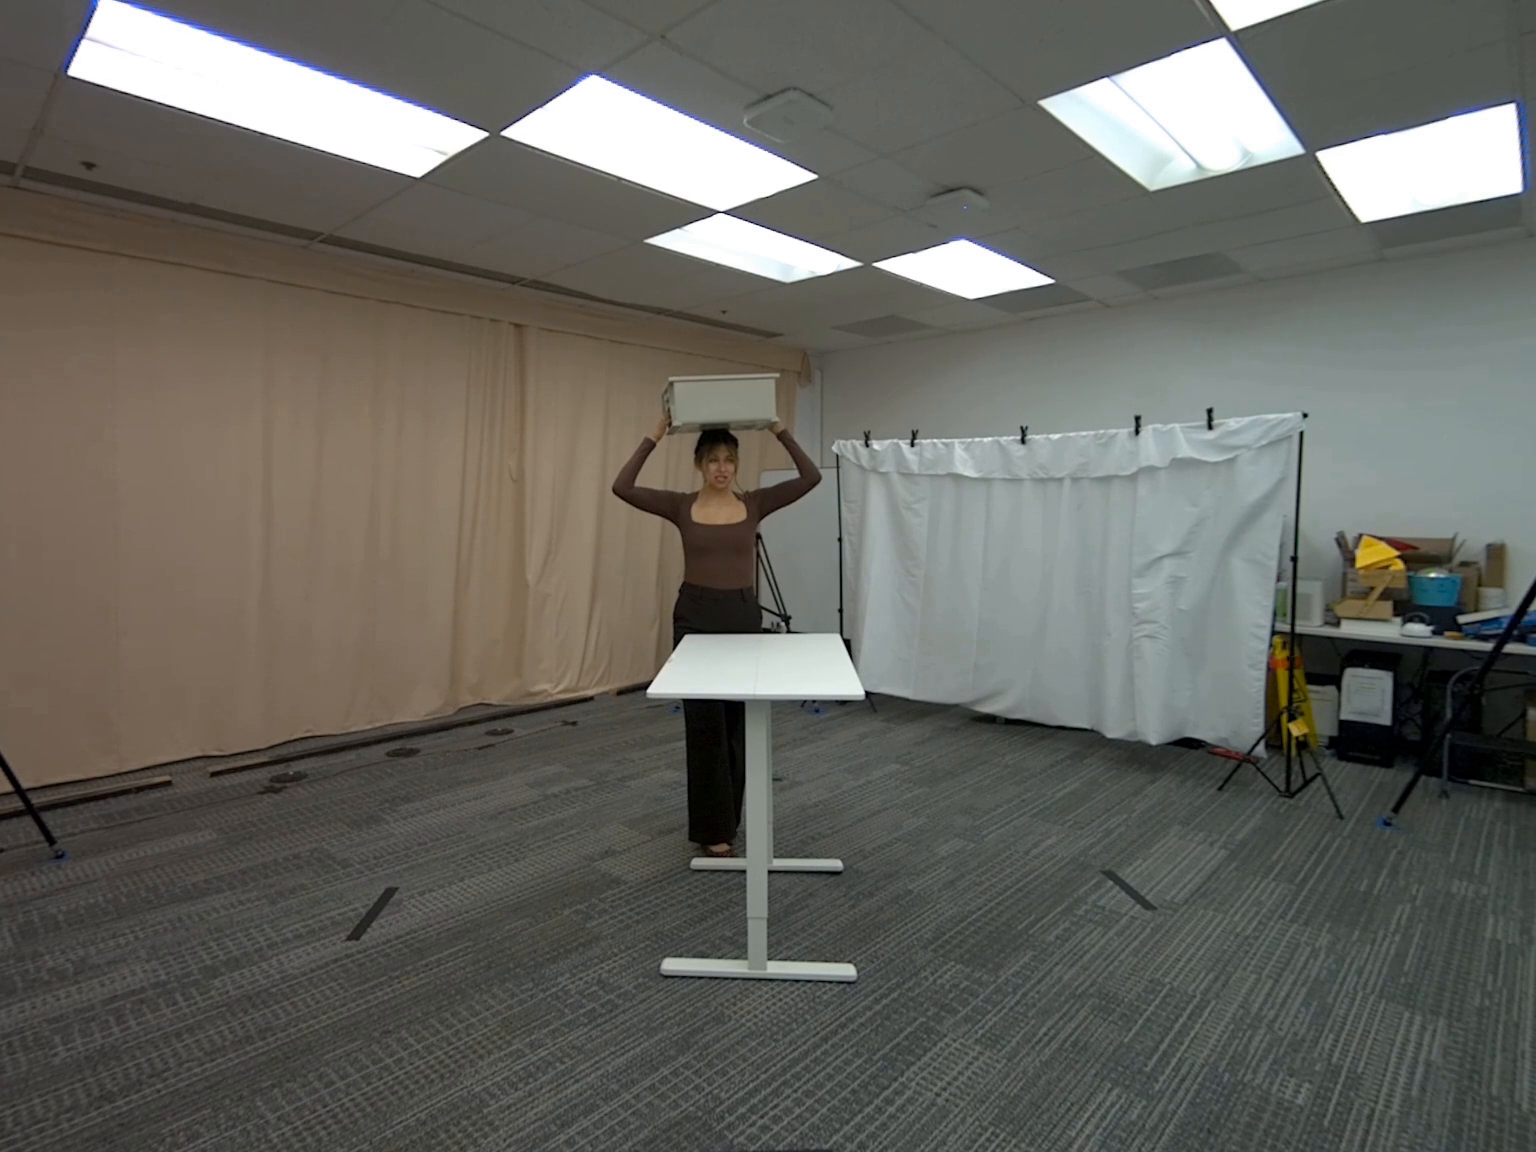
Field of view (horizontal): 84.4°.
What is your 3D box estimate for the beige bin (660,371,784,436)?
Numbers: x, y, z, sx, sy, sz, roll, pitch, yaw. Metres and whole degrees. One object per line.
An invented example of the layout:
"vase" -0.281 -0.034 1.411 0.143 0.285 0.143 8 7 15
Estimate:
"beige bin" -0.196 -0.681 3.359 0.418 0.188 0.382 -4 6 -10
